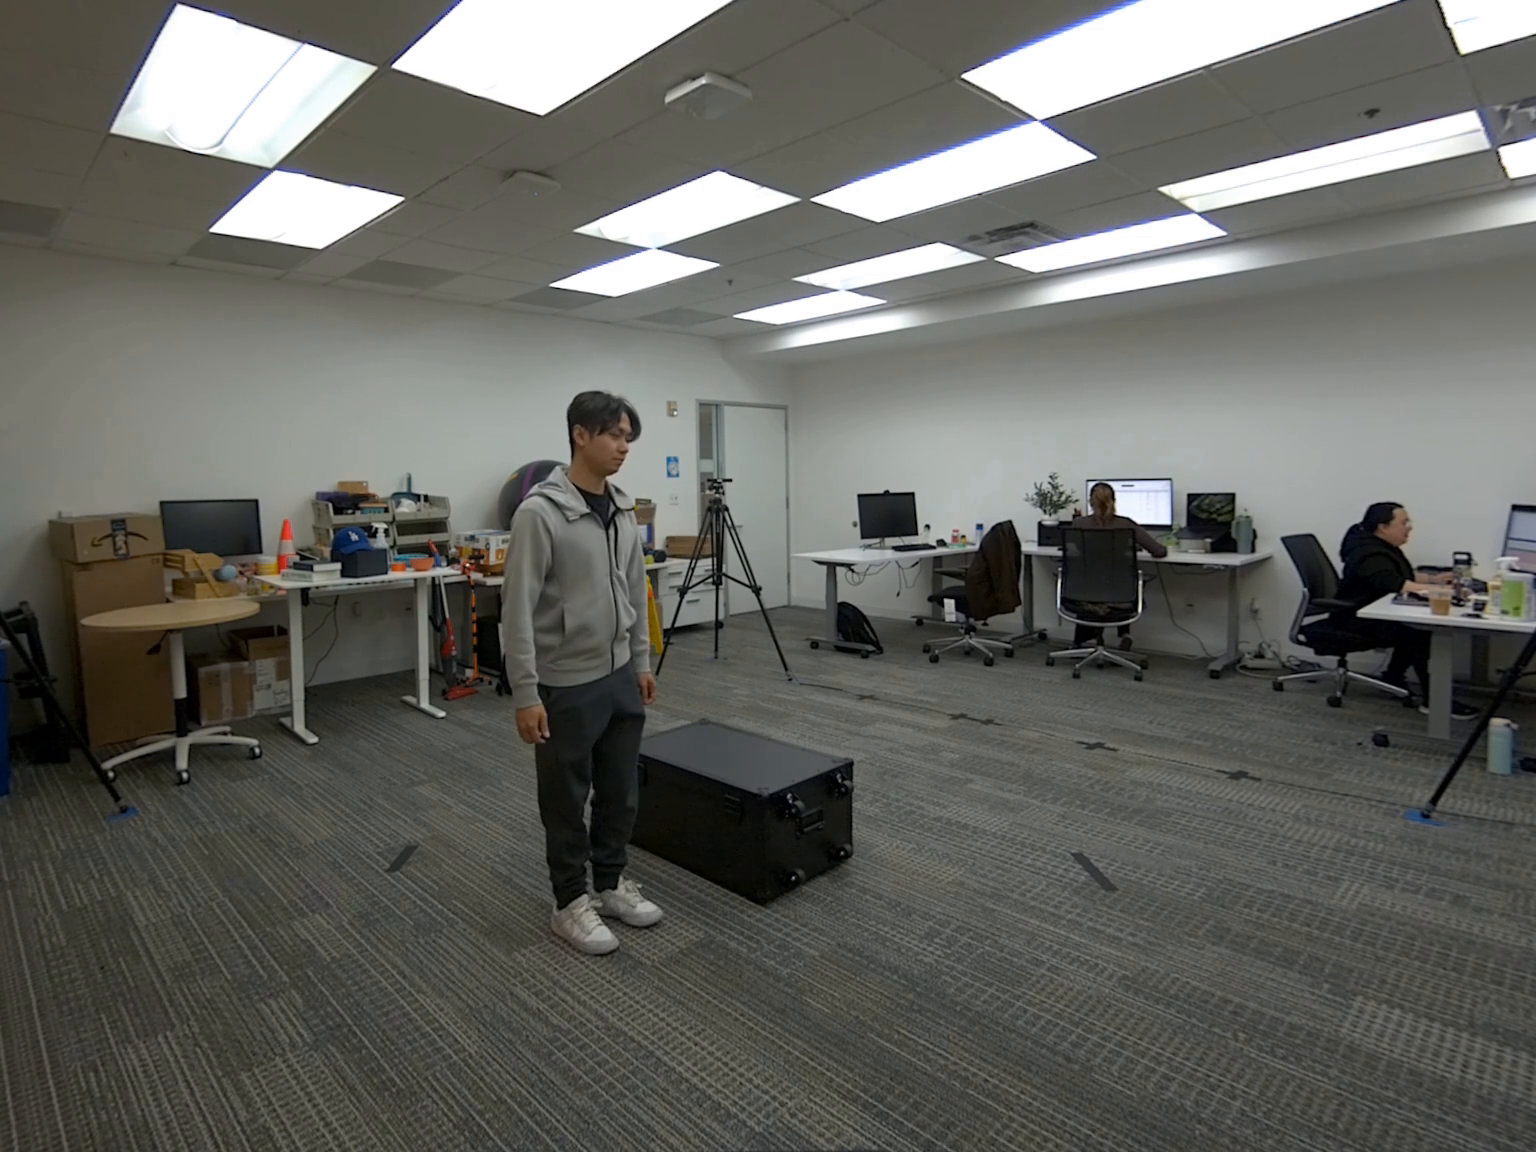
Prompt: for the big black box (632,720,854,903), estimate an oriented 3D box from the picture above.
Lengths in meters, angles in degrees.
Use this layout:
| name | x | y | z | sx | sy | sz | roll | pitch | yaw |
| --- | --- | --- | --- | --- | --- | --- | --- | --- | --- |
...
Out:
| name | x | y | z | sx | sy | sz | roll | pitch | yaw |
| --- | --- | --- | --- | --- | --- | --- | --- | --- | --- |
| big black box | -0.114 | 0.846 | 3.188 | 0.888 | 0.395 | 0.508 | 4 | 7 | 43 |
